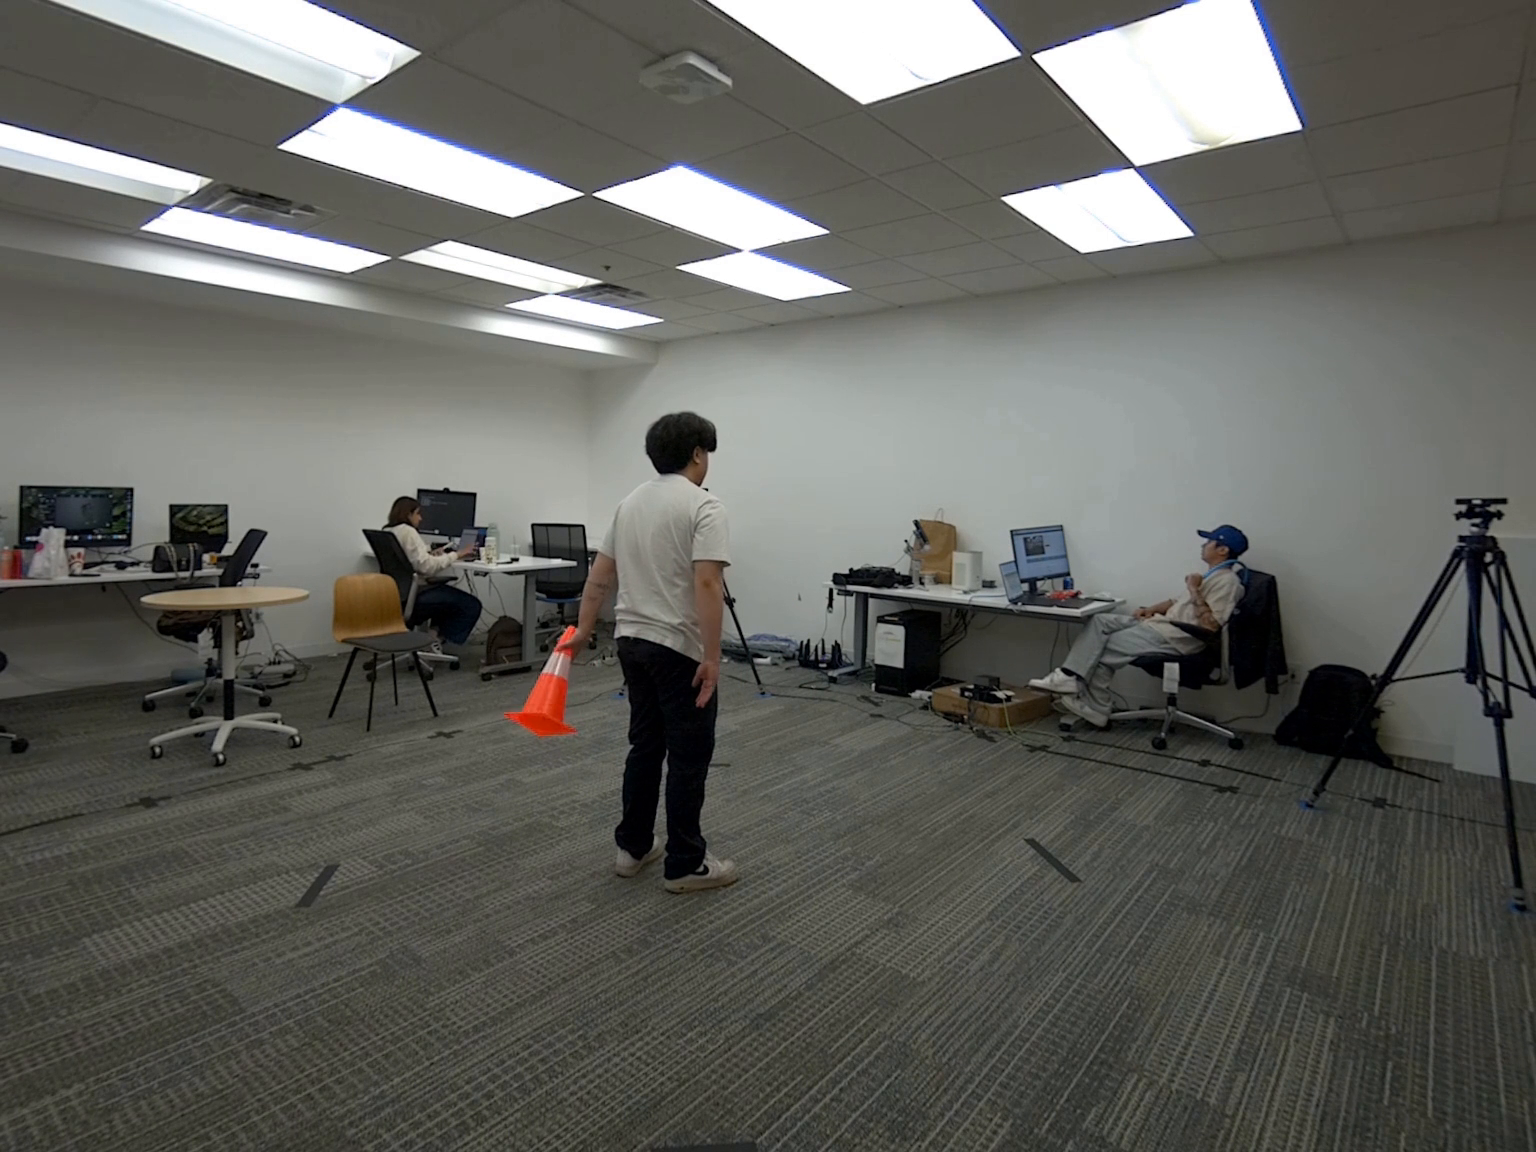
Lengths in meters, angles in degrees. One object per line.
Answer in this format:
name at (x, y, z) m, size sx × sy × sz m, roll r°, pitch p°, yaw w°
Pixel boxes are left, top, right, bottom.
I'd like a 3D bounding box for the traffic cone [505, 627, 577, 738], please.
traffic cone at (-0.765, 0.356, 3.086) m, size 0.198 × 0.391 × 0.207 m, roll 31°, pitch -34°, yaw -31°
